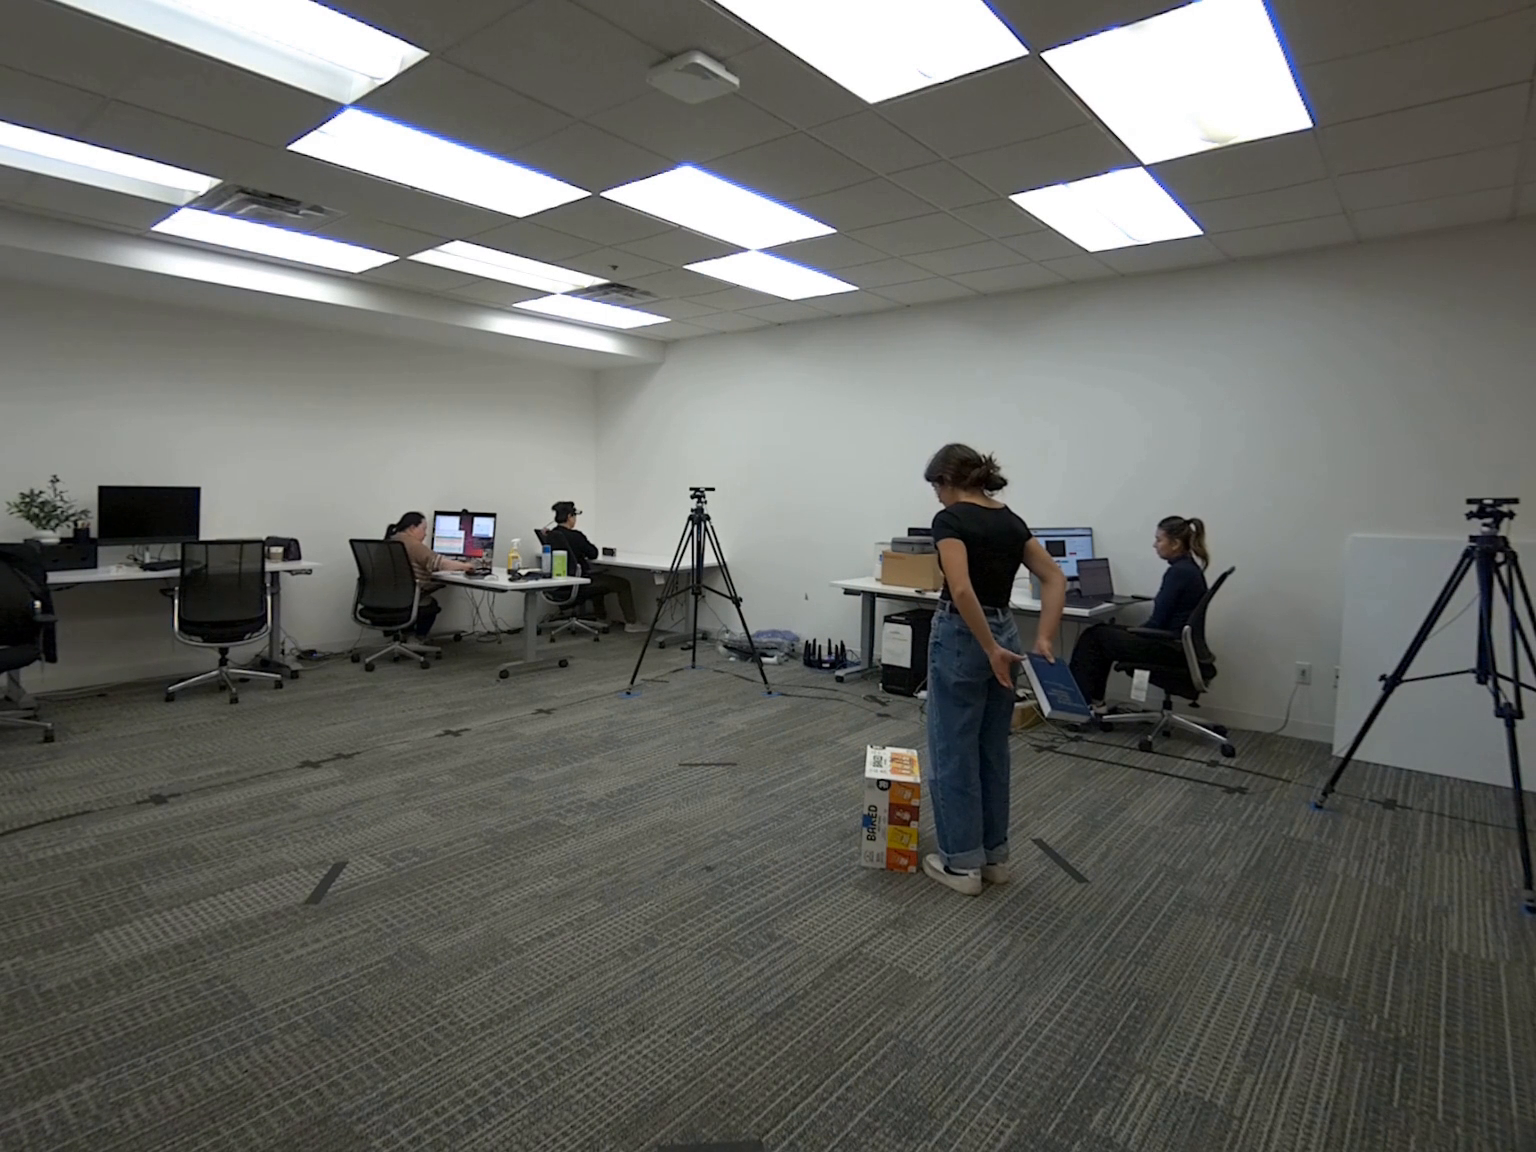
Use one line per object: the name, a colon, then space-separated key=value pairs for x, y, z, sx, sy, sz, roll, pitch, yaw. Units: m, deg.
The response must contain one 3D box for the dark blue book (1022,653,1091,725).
dark blue book: x=0.961 y=0.369 z=2.839 sx=0.160 sy=0.044 sz=0.253 roll=10 pitch=40 yaw=-17
